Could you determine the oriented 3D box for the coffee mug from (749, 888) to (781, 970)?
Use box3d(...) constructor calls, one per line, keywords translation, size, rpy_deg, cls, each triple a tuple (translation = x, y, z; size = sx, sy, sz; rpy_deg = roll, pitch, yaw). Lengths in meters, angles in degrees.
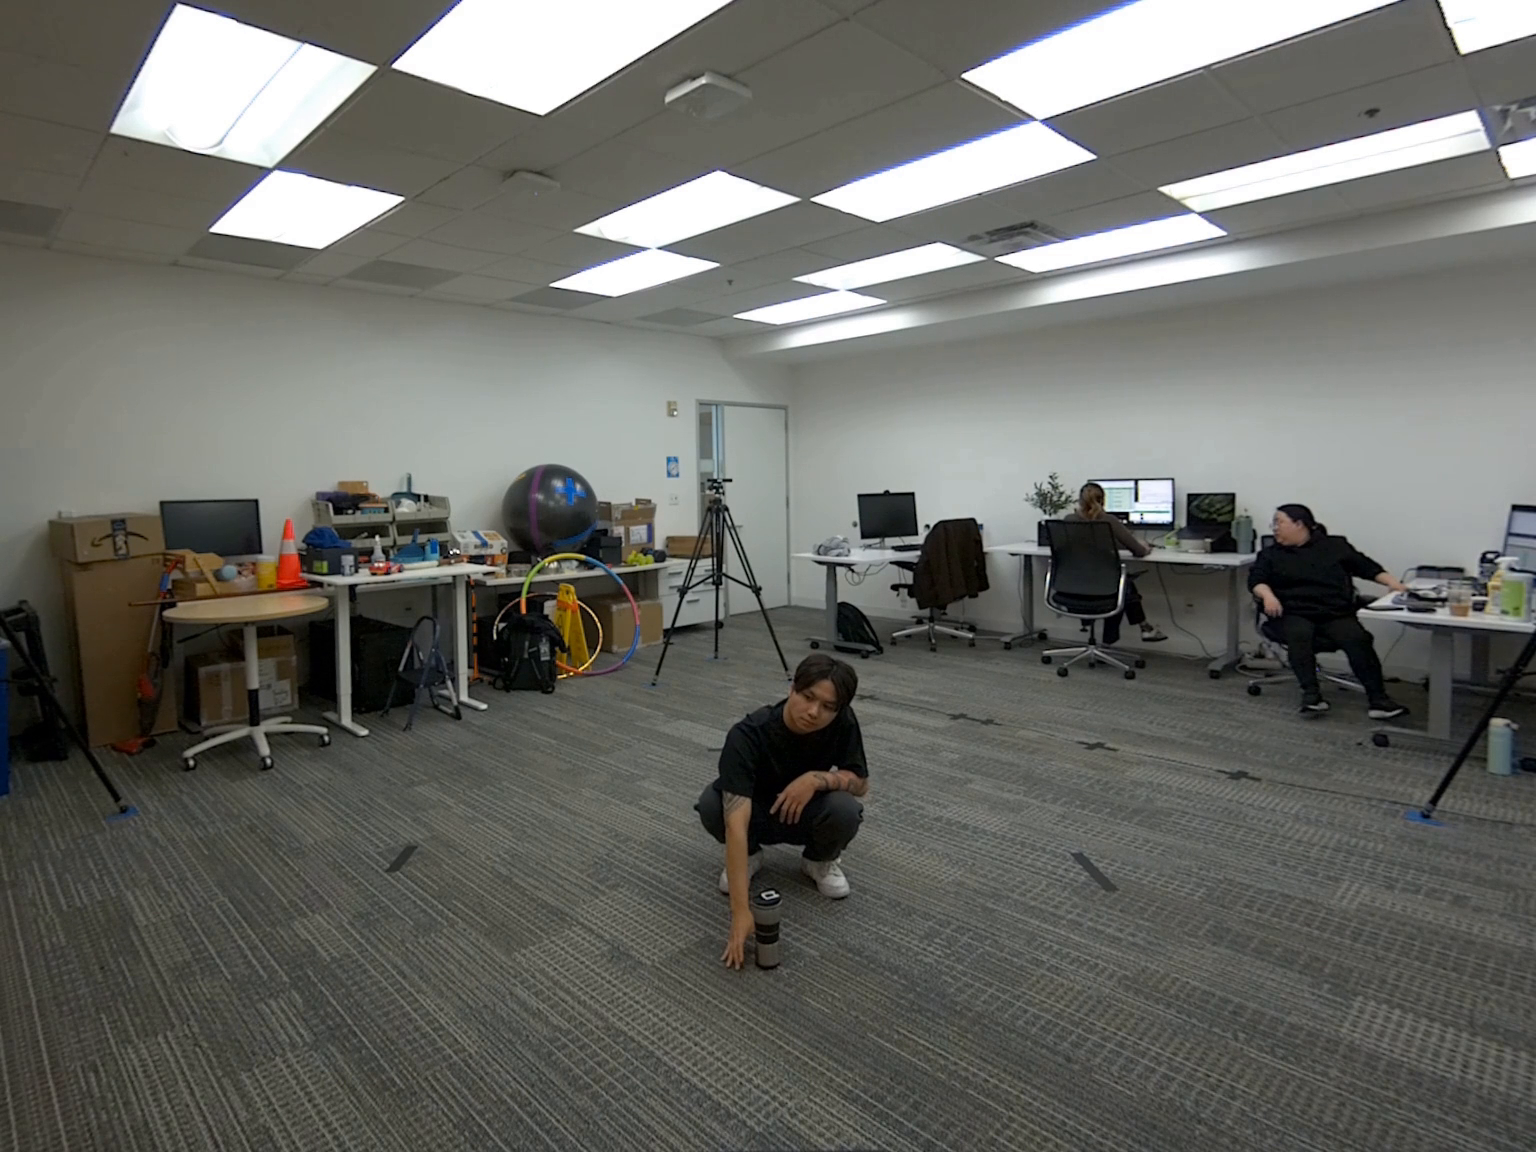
box3d(translation=(0.020, 1.025, 2.472), size=(0.090, 0.203, 0.119), rpy_deg=(-8, 0, 44), cls="coffee mug")
